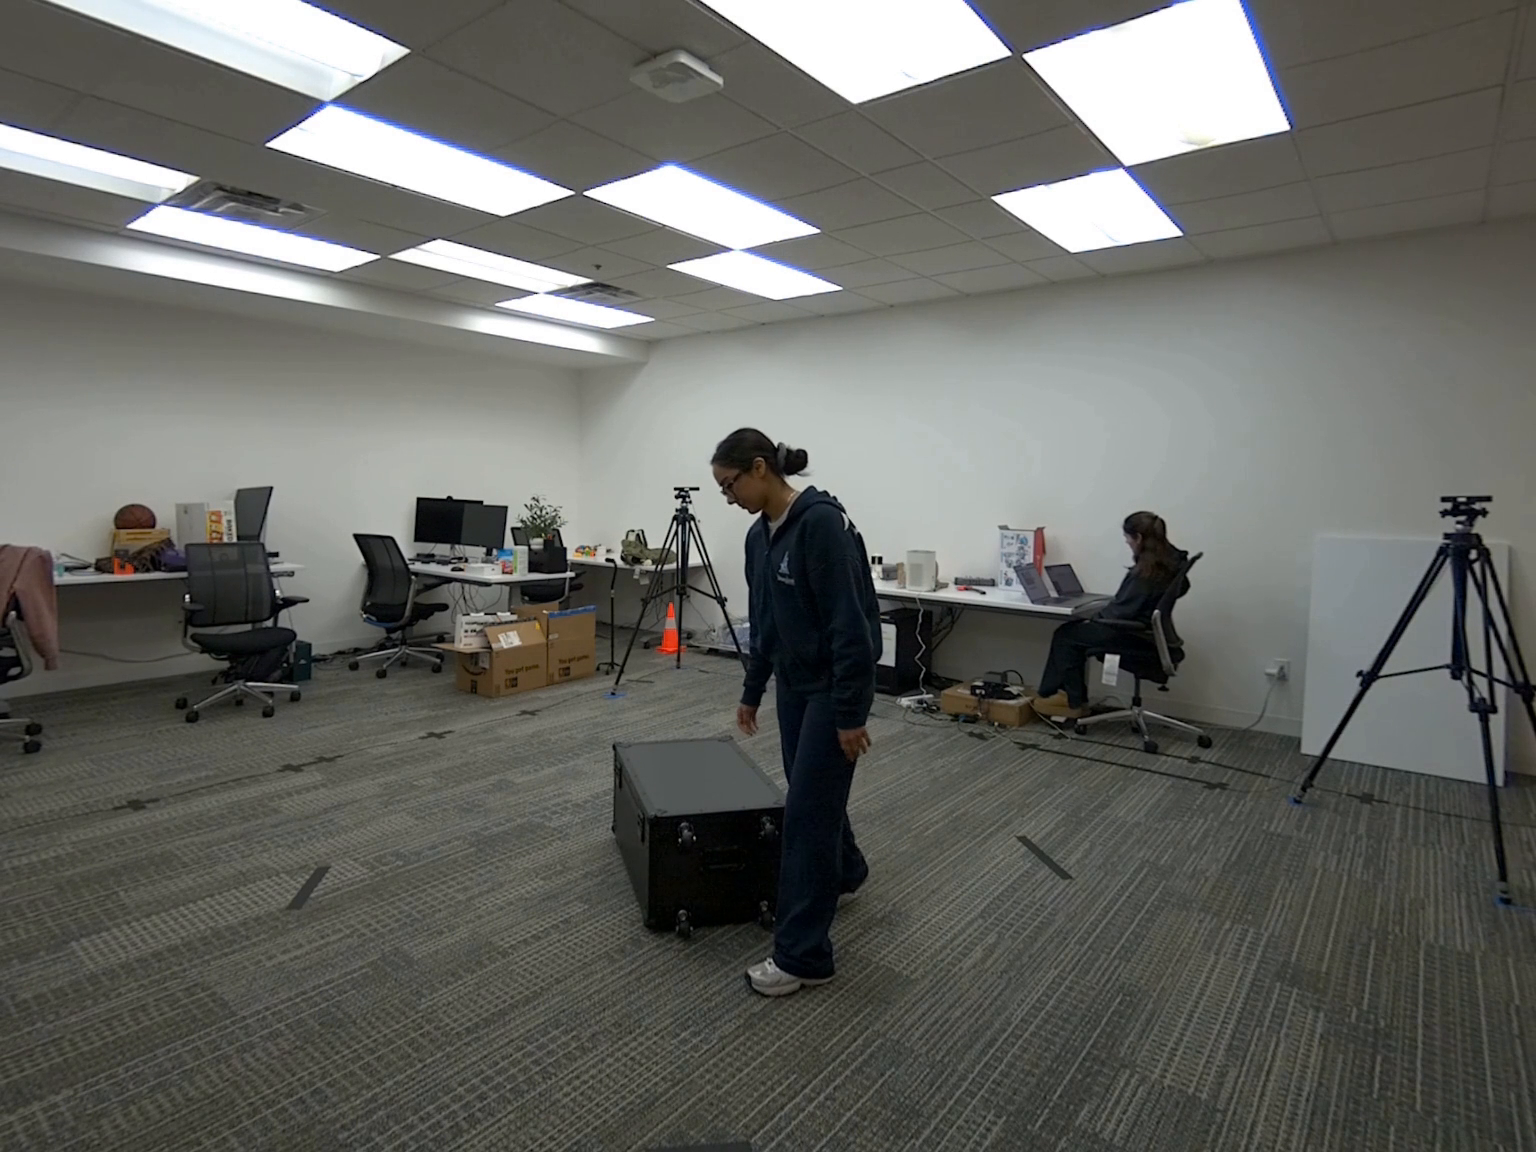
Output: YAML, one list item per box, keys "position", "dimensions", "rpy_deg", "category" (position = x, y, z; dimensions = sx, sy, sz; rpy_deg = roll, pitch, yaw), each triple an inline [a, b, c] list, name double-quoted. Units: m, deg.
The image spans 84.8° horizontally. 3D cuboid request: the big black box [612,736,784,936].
- position: [-0.267, 0.882, 3.021]
  dimensions: [0.512, 0.395, 0.880]
  rpy_deg: [0, 5, -18]
  category: "big black box"
